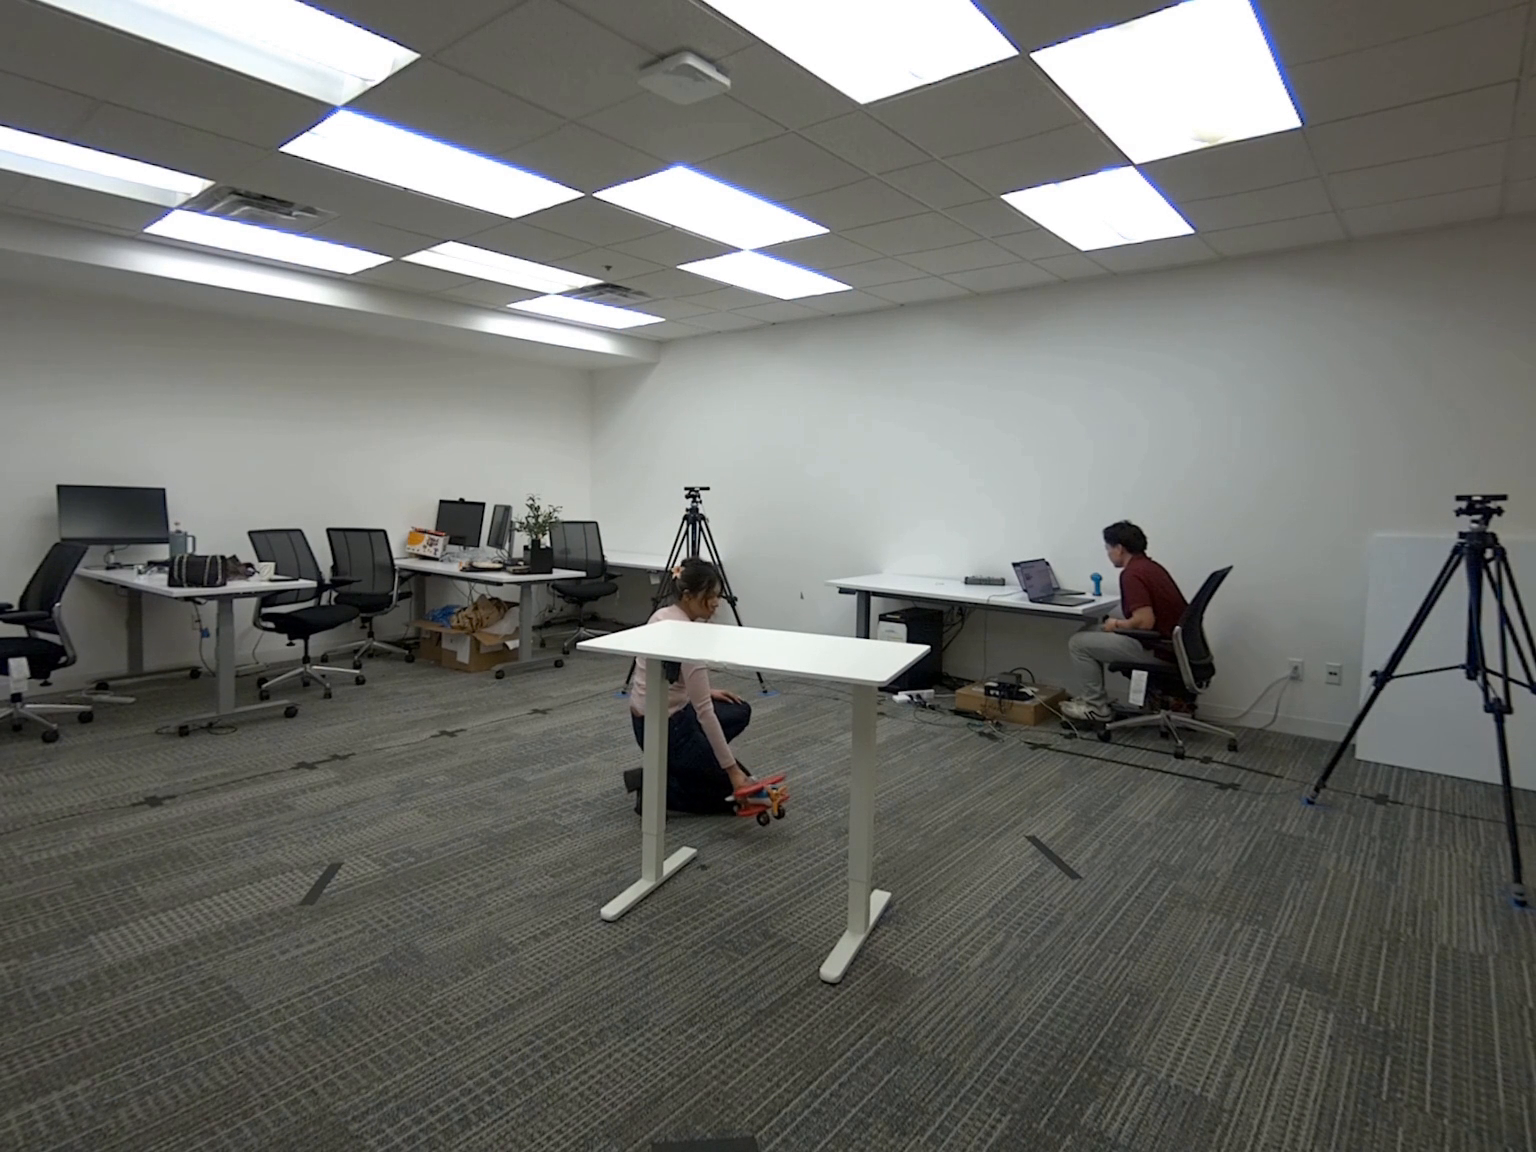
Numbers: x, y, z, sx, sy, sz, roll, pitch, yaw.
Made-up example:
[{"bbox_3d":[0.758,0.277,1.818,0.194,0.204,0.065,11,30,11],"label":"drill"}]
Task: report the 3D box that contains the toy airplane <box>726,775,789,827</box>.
[{"bbox_3d":[-0.065,0.894,3.412,0.265,0.155,0.248,2,8,19],"label":"toy airplane"}]
